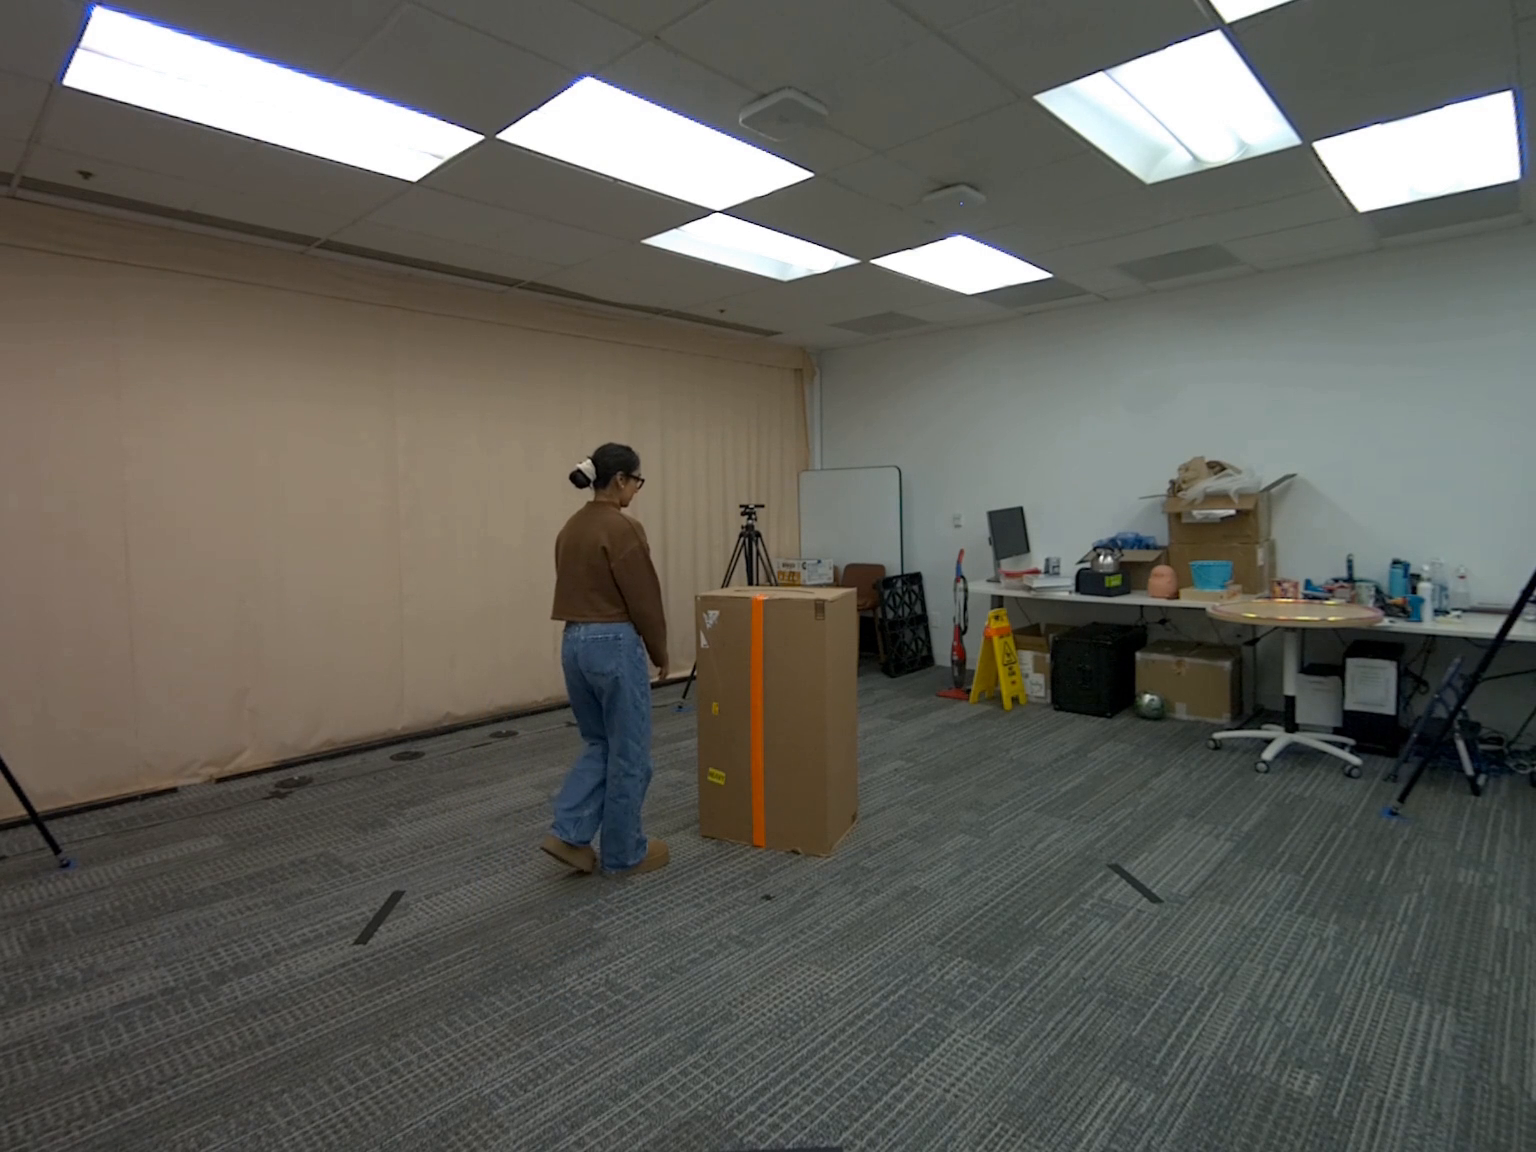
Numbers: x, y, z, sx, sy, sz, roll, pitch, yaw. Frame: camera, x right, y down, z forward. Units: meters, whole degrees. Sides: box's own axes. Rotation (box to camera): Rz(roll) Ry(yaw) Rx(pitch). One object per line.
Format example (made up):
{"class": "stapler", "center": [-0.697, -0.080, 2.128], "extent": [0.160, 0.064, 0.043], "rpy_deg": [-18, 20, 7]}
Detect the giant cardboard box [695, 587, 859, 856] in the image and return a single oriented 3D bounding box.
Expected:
{"class": "giant cardboard box", "center": [0.049, 0.575, 3.596], "extent": [0.592, 1.024, 0.416], "rpy_deg": [1, 3, 25]}
